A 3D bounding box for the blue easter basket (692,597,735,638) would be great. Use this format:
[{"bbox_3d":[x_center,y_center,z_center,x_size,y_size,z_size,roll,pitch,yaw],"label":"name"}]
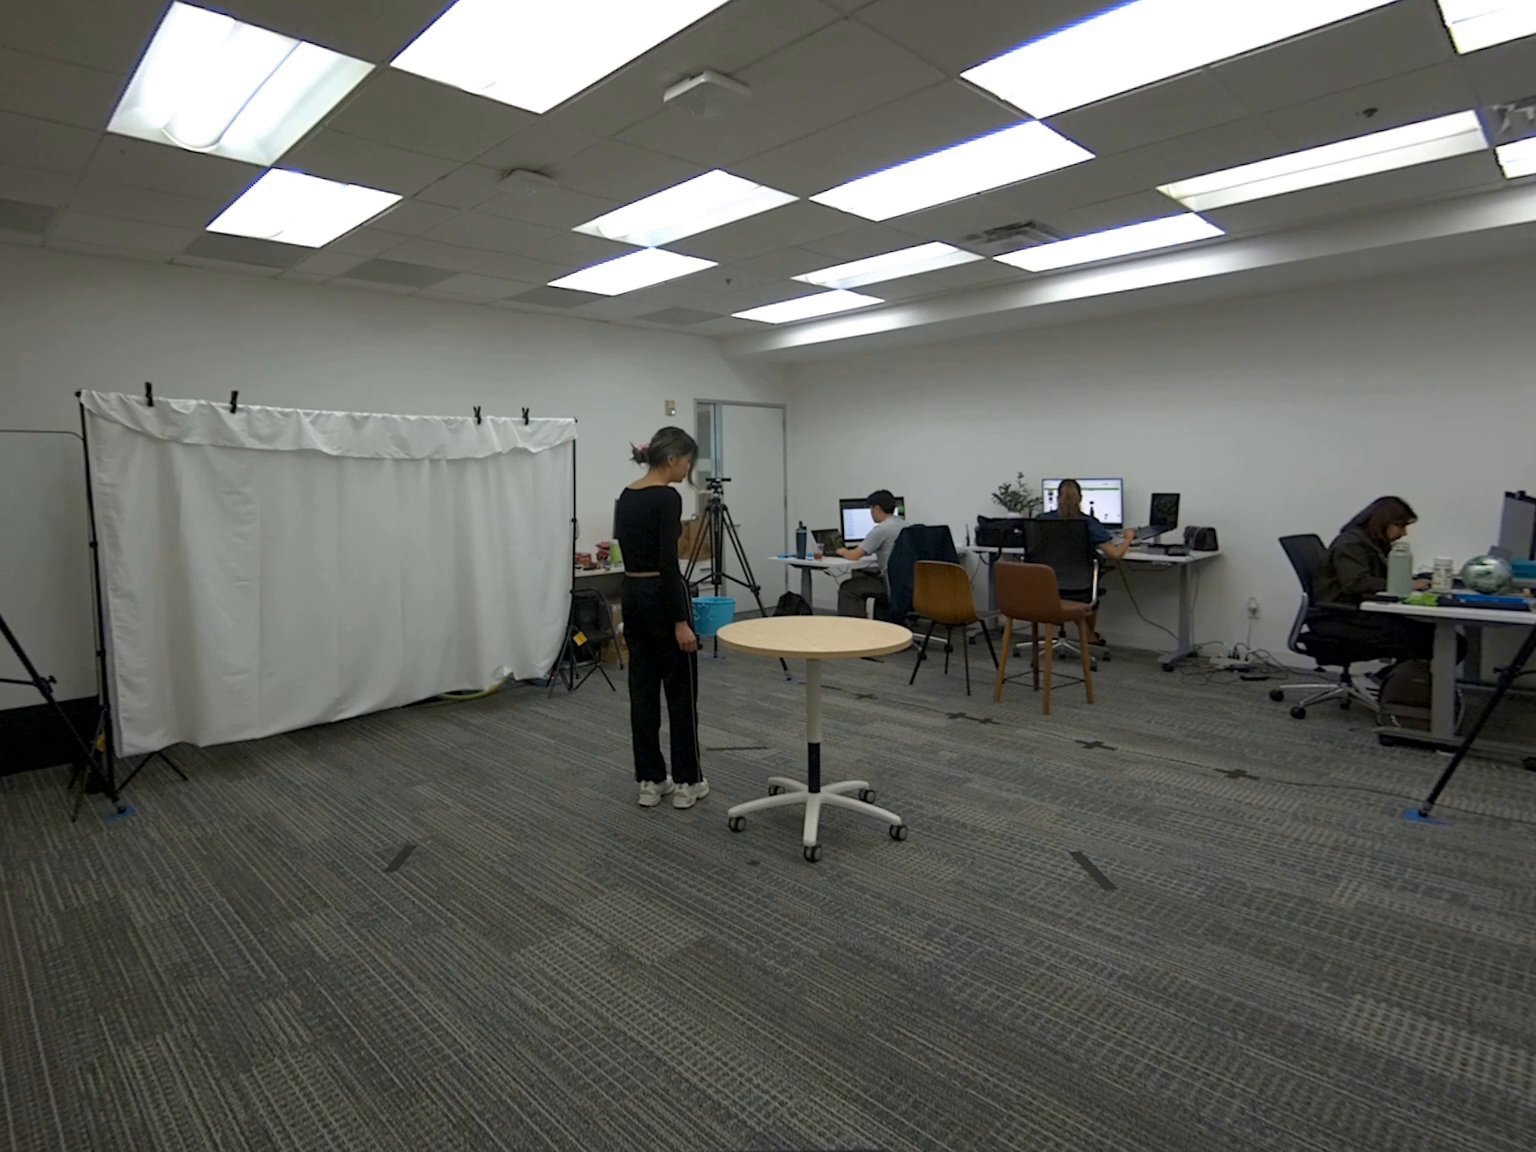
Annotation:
[{"bbox_3d":[-0.273,0.183,3.981,0.243,0.155,0.244,-1,4,-2],"label":"blue easter basket"}]
